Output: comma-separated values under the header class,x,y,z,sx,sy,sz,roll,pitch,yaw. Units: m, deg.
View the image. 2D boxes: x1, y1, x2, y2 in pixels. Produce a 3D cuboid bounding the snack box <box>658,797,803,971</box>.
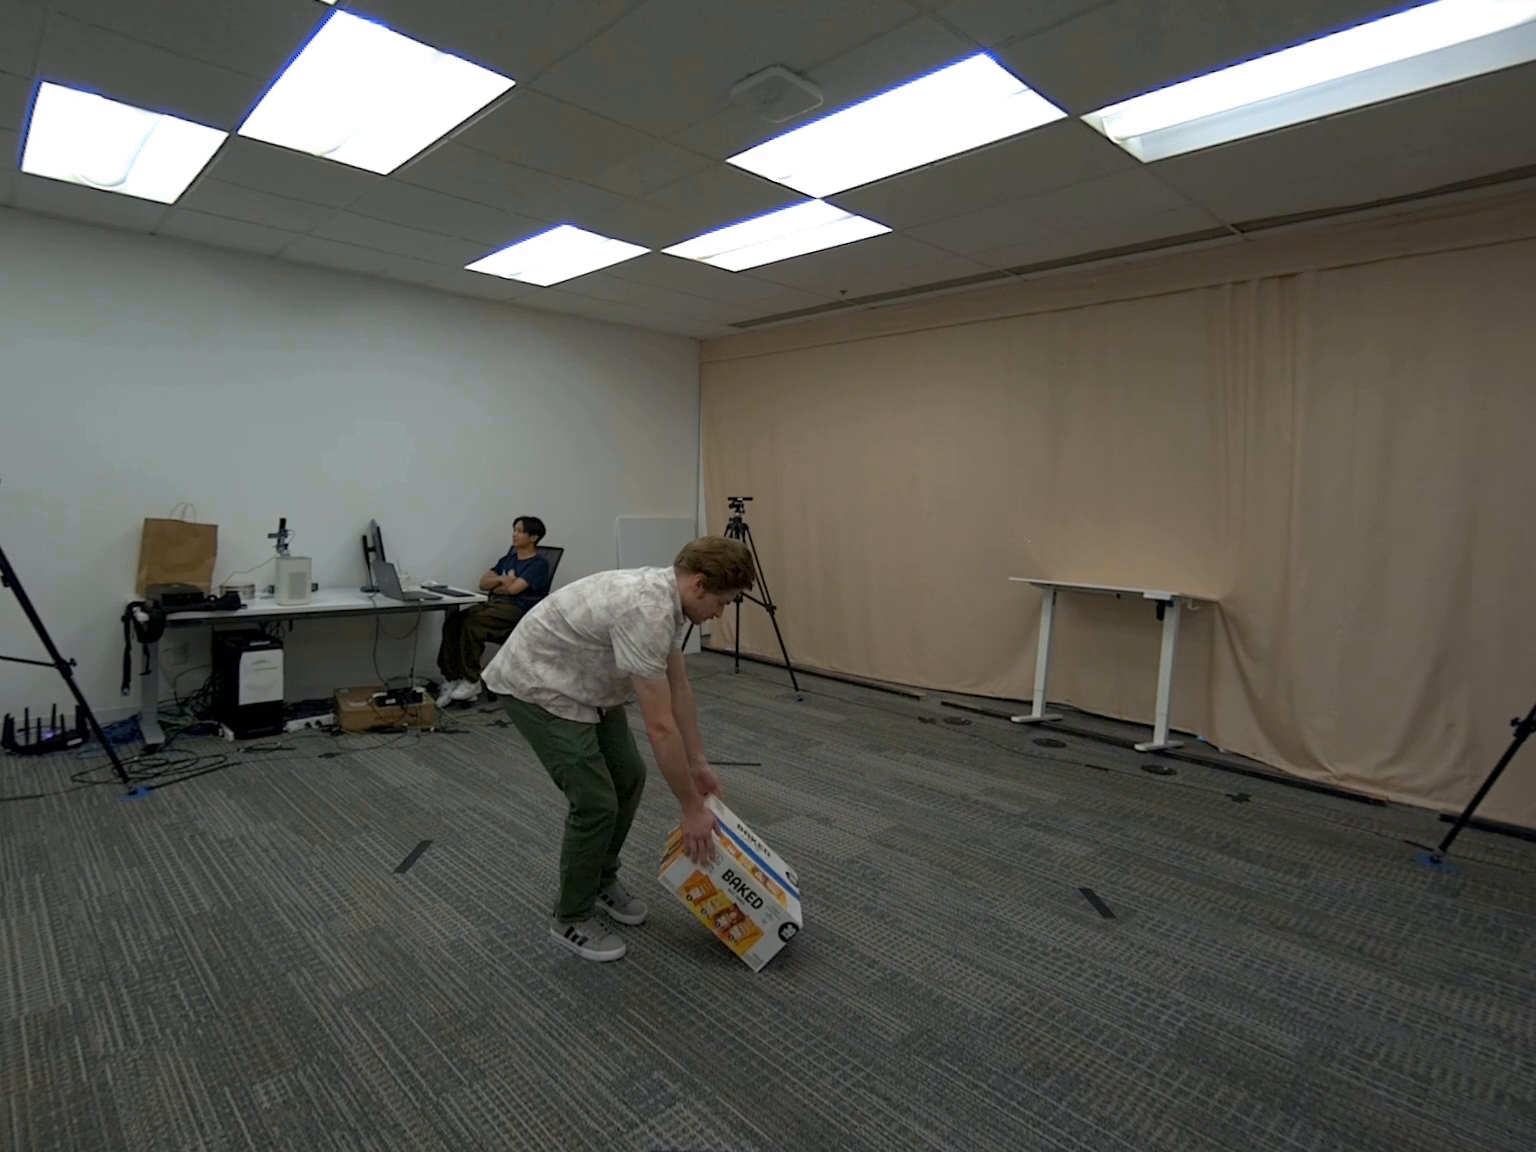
class,x,y,z,sx,sy,sz,roll,pitch,yaw
snack box,-0.120,0.943,2.628,0.404,0.206,0.341,44,4,-3
